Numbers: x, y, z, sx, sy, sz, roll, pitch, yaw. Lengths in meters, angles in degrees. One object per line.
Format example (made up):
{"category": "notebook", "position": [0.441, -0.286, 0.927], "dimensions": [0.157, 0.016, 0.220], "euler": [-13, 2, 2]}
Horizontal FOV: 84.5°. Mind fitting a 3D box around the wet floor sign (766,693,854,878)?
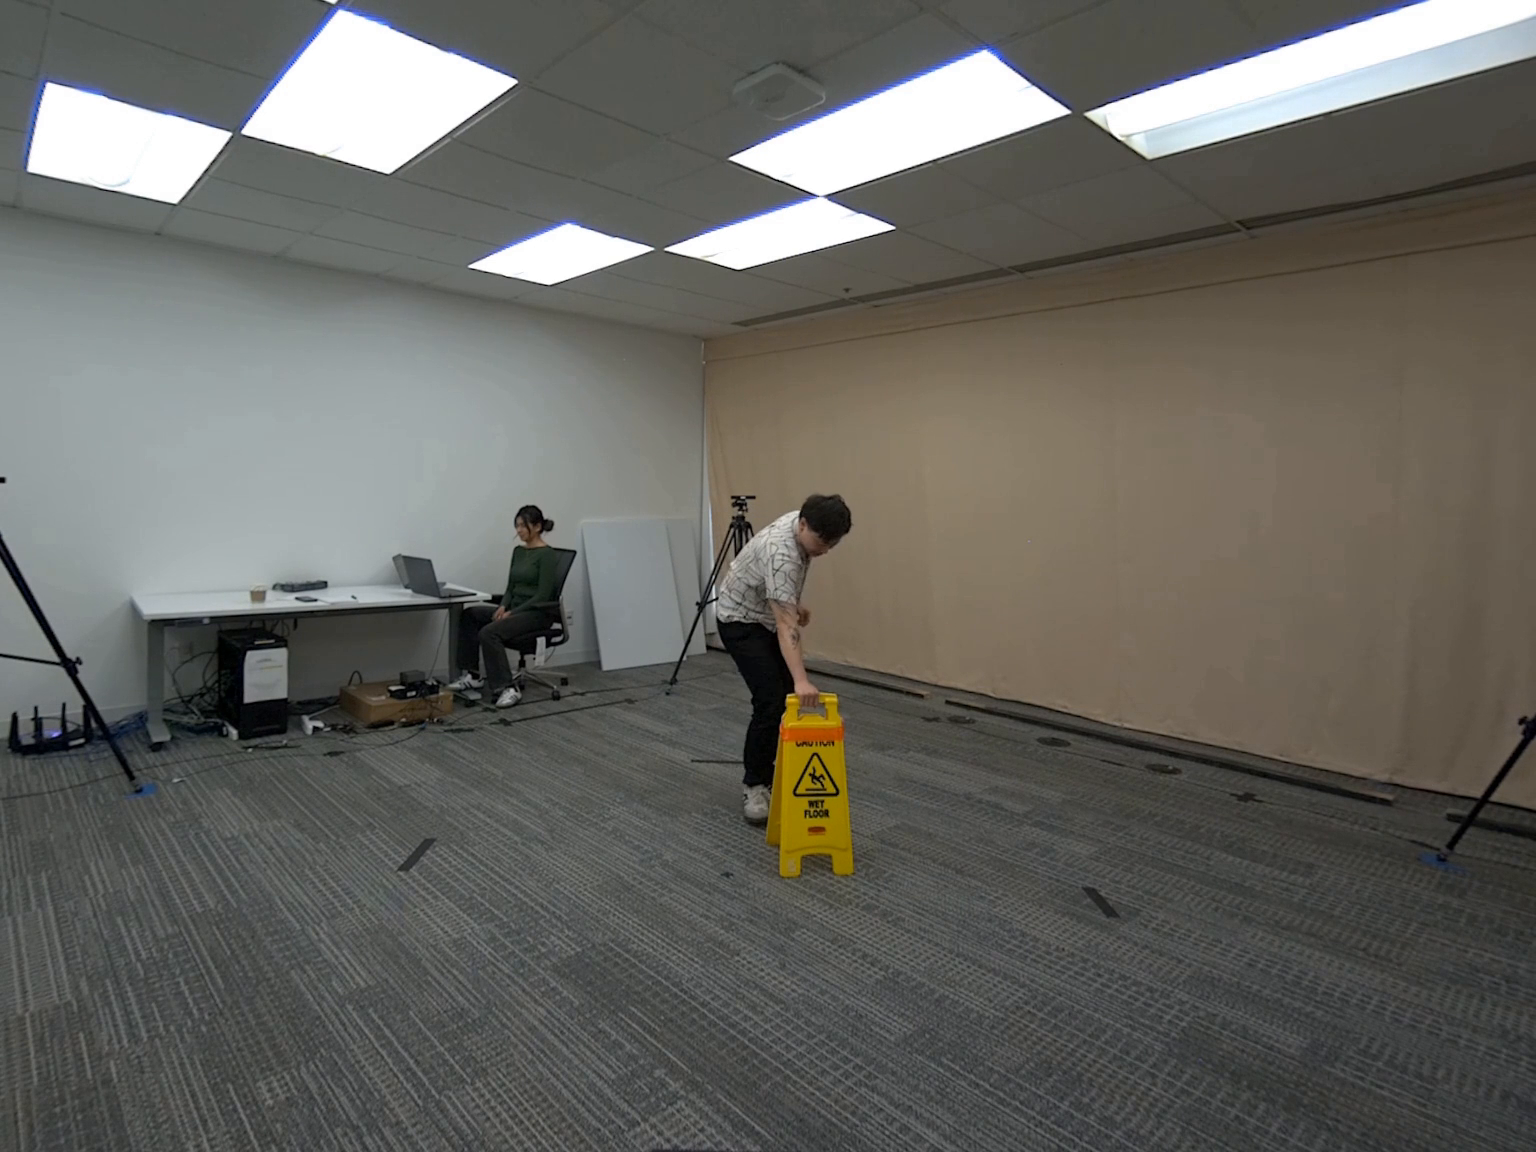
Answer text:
{"category": "wet floor sign", "position": [0.155, 0.770, 3.244], "dimensions": [0.280, 0.644, 0.292], "euler": [2, 3, -9]}
